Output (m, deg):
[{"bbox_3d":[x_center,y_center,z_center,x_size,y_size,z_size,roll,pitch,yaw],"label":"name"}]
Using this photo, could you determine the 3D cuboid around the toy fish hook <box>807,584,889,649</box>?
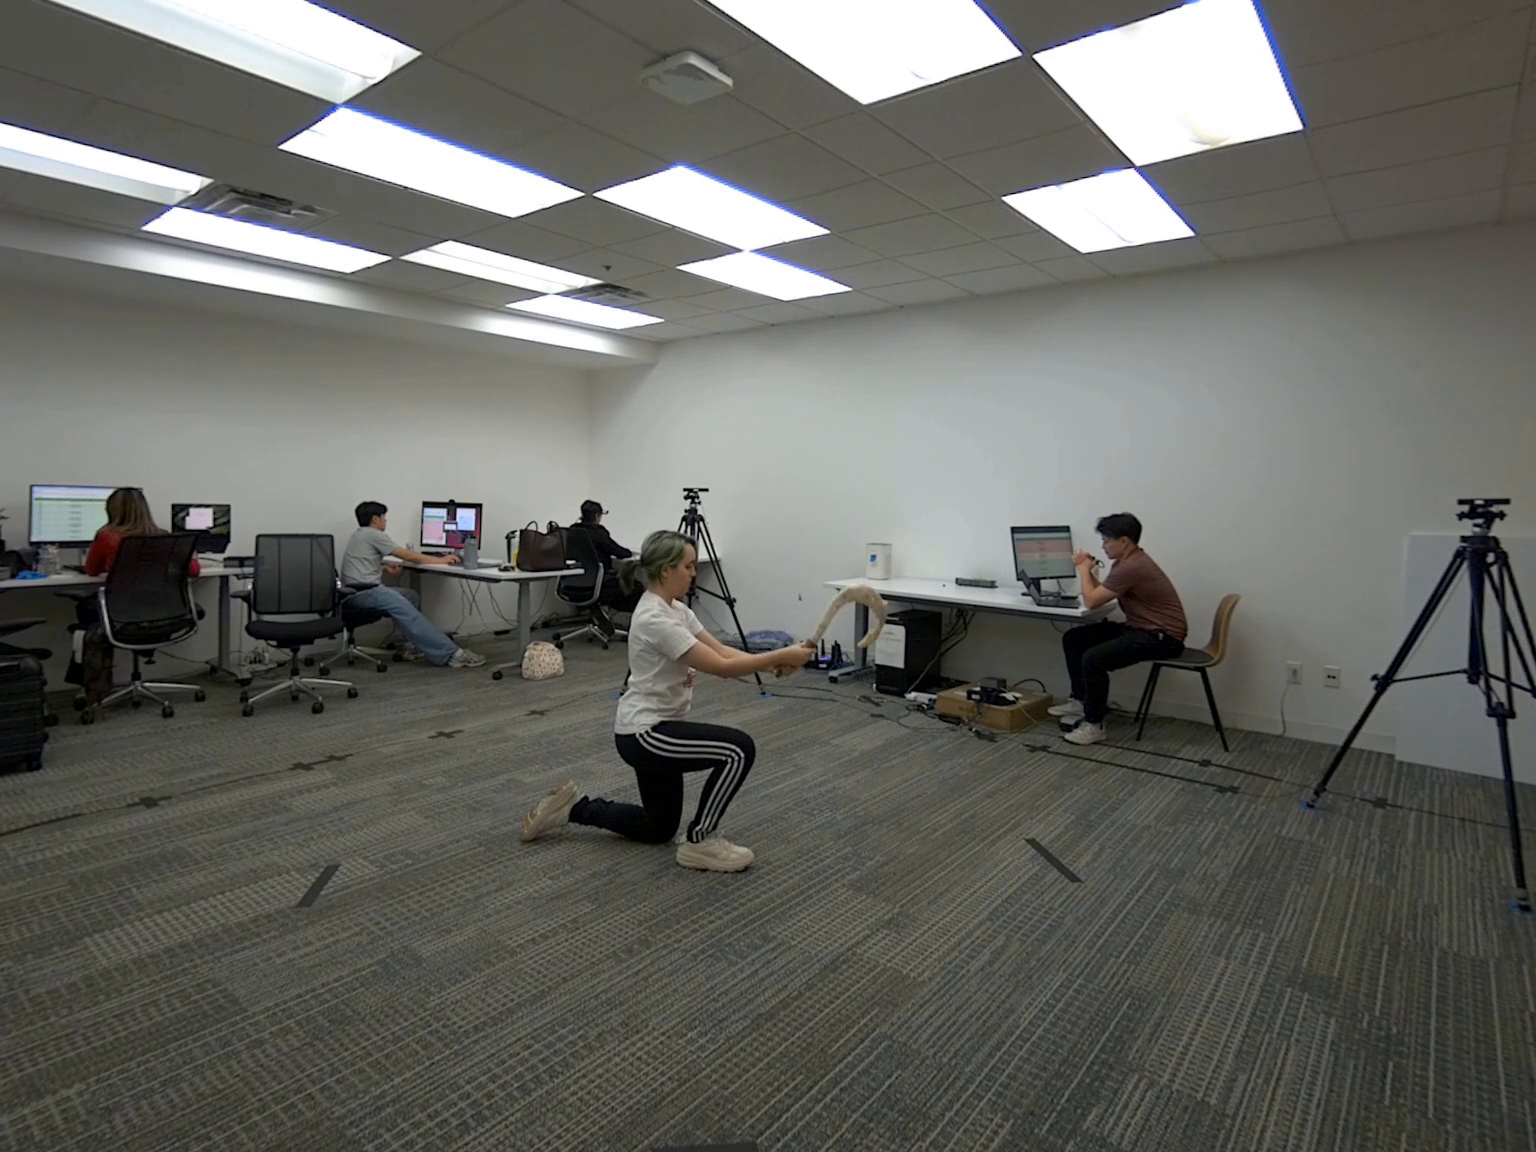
[{"bbox_3d":[0.222,0.241,3.250,0.228,0.506,0.047,45,10,11],"label":"toy fish hook"}]
